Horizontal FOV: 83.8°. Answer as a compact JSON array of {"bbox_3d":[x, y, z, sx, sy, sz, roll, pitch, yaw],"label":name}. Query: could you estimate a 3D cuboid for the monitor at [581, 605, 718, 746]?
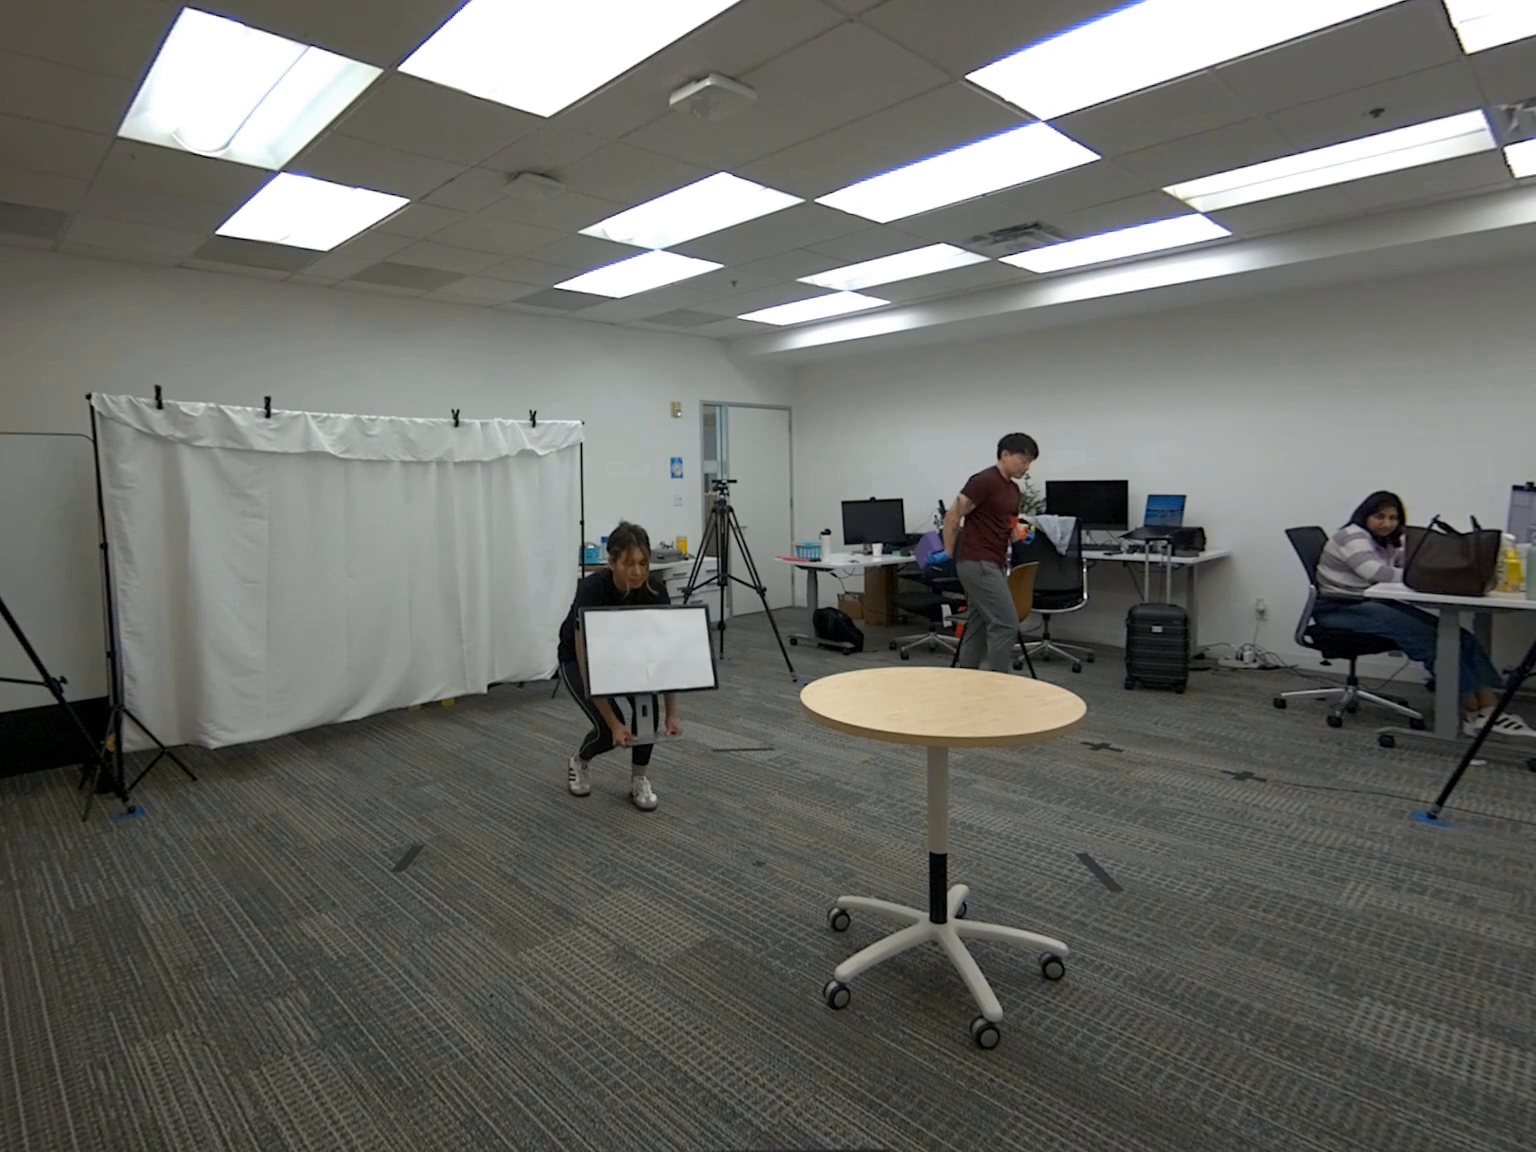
[{"bbox_3d":[-0.493,0.390,3.480,0.526,0.524,0.191,0,-4,-27],"label":"monitor"}]
